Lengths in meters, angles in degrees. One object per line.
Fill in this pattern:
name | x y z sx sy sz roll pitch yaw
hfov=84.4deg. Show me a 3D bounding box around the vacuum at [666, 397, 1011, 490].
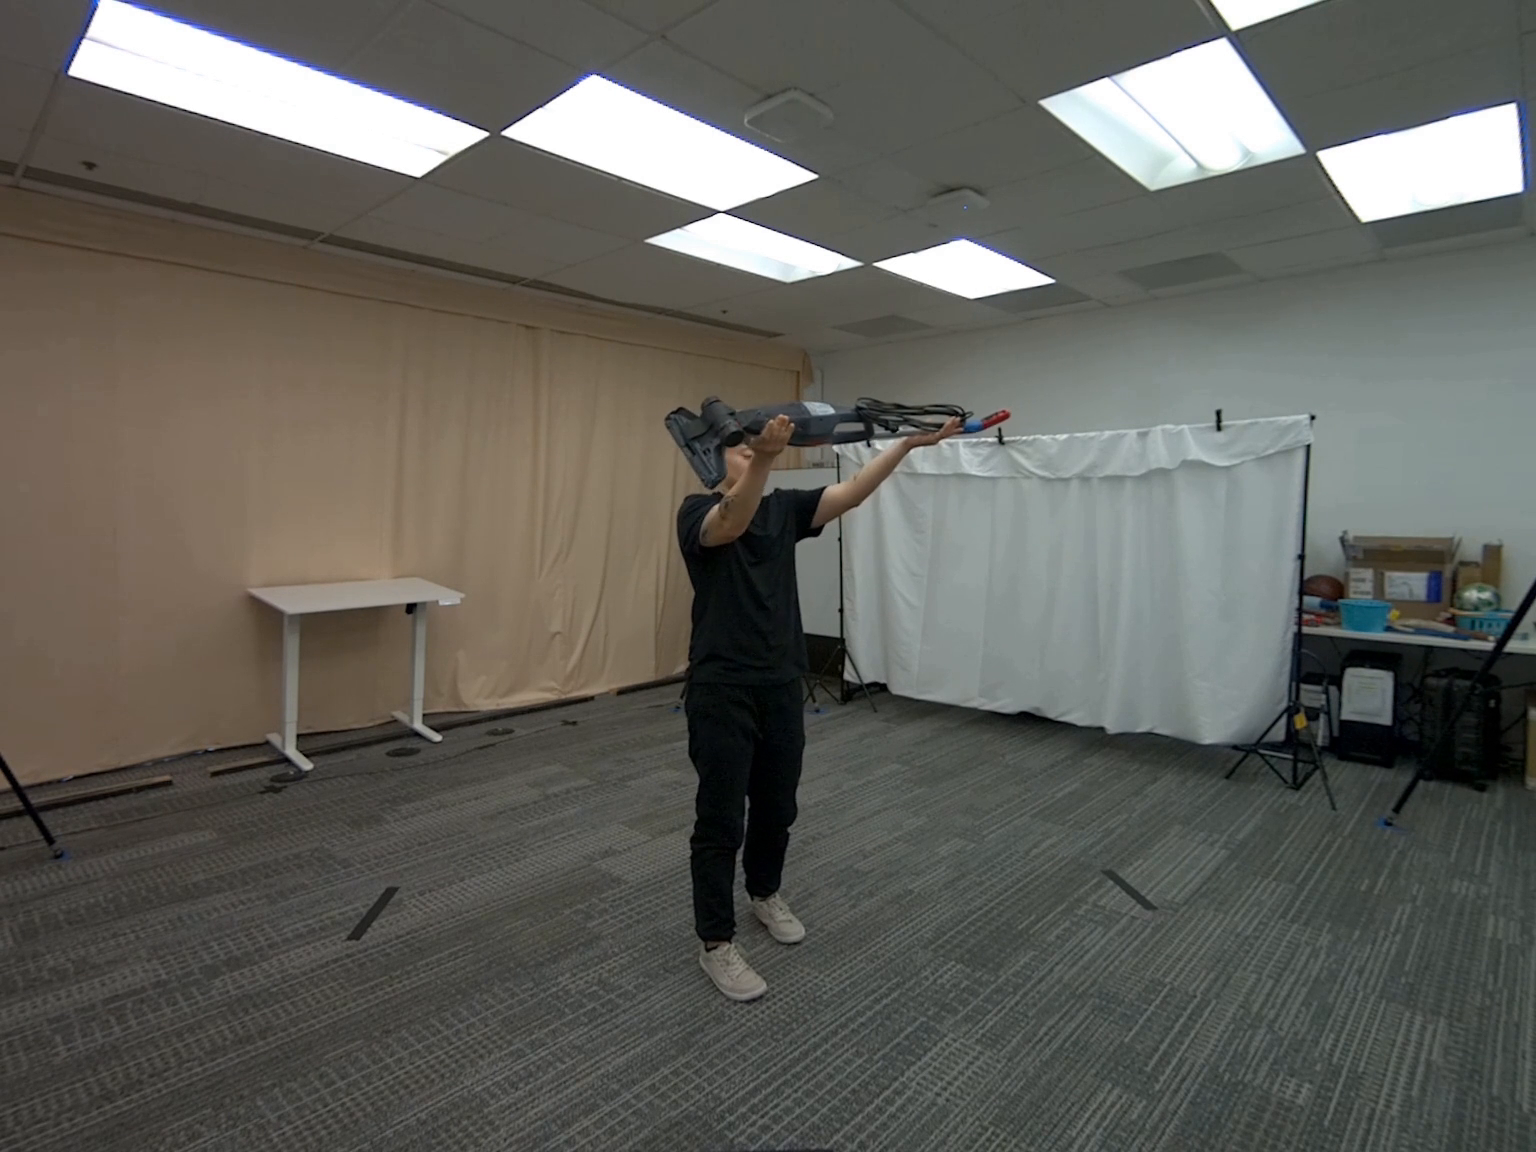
vacuum | 0.284 -0.412 2.238 1.023 0.143 0.261 -11 47 -31
